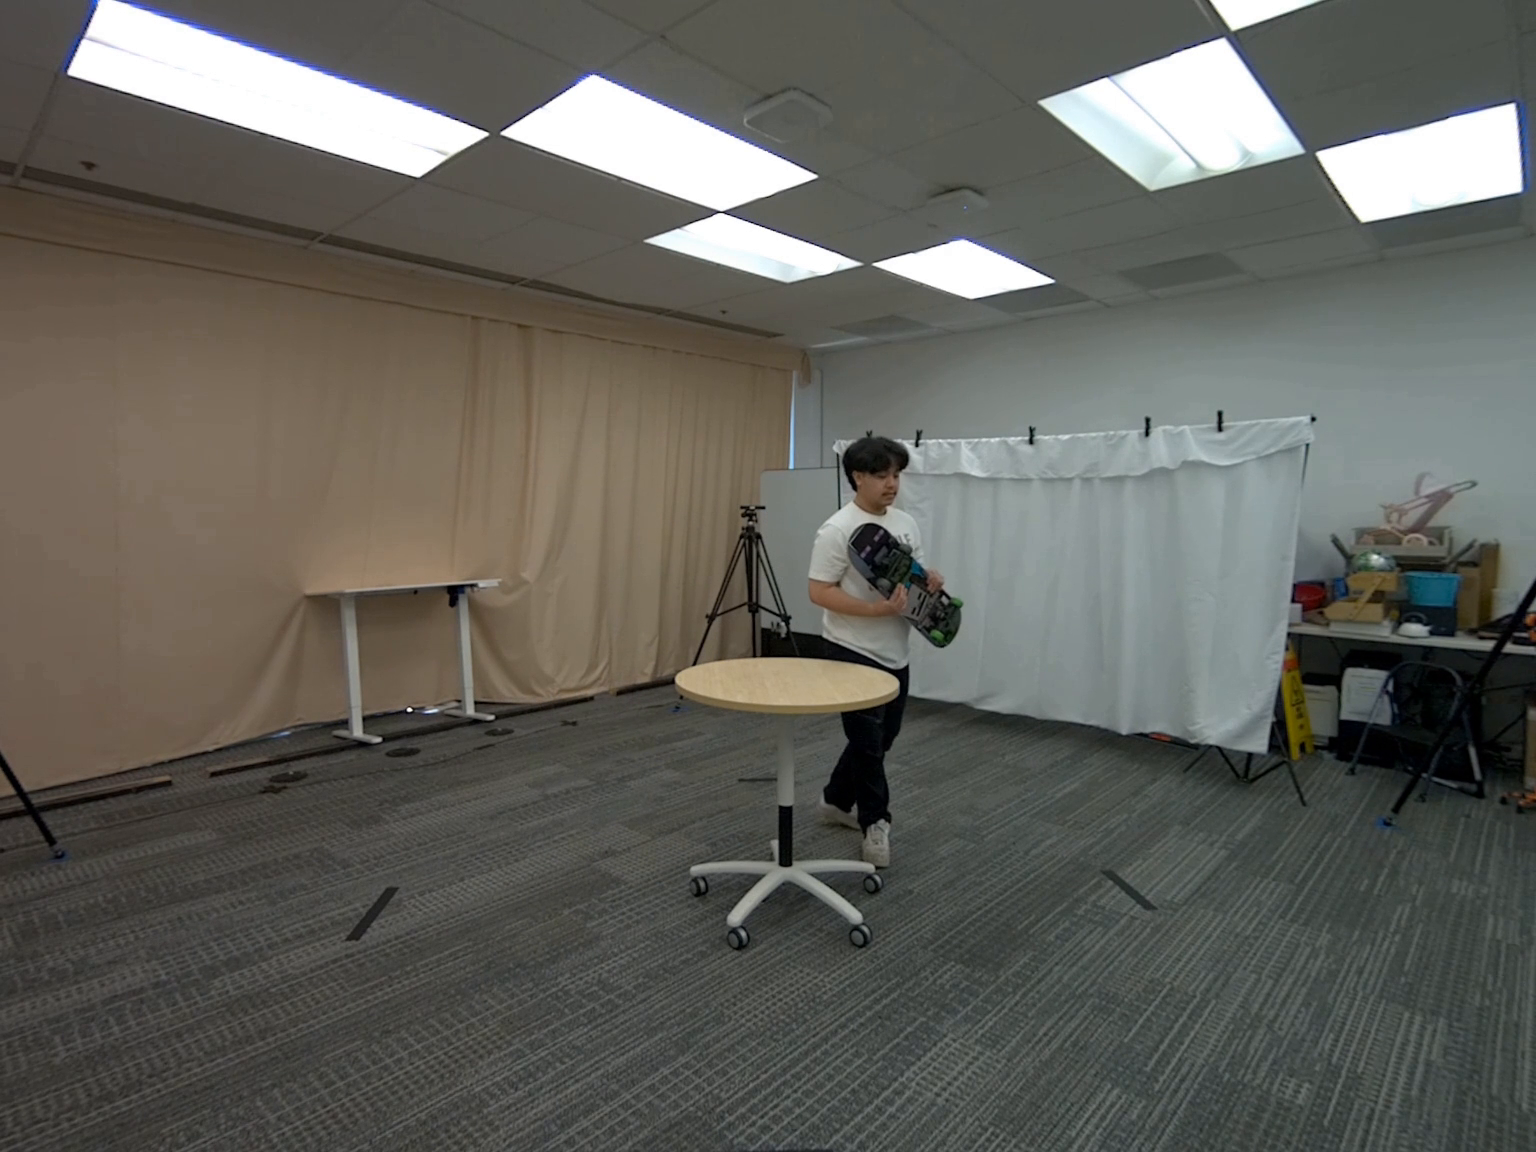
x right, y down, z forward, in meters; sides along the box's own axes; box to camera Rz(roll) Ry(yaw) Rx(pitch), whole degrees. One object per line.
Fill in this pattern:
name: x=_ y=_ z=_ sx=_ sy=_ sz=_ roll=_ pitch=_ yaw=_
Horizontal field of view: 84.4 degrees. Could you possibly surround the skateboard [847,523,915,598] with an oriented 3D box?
skateboard: x=0.548 y=0.063 z=3.173 sx=0.759 sy=0.193 sz=0.114 roll=40 pitch=-10 yaw=-36
